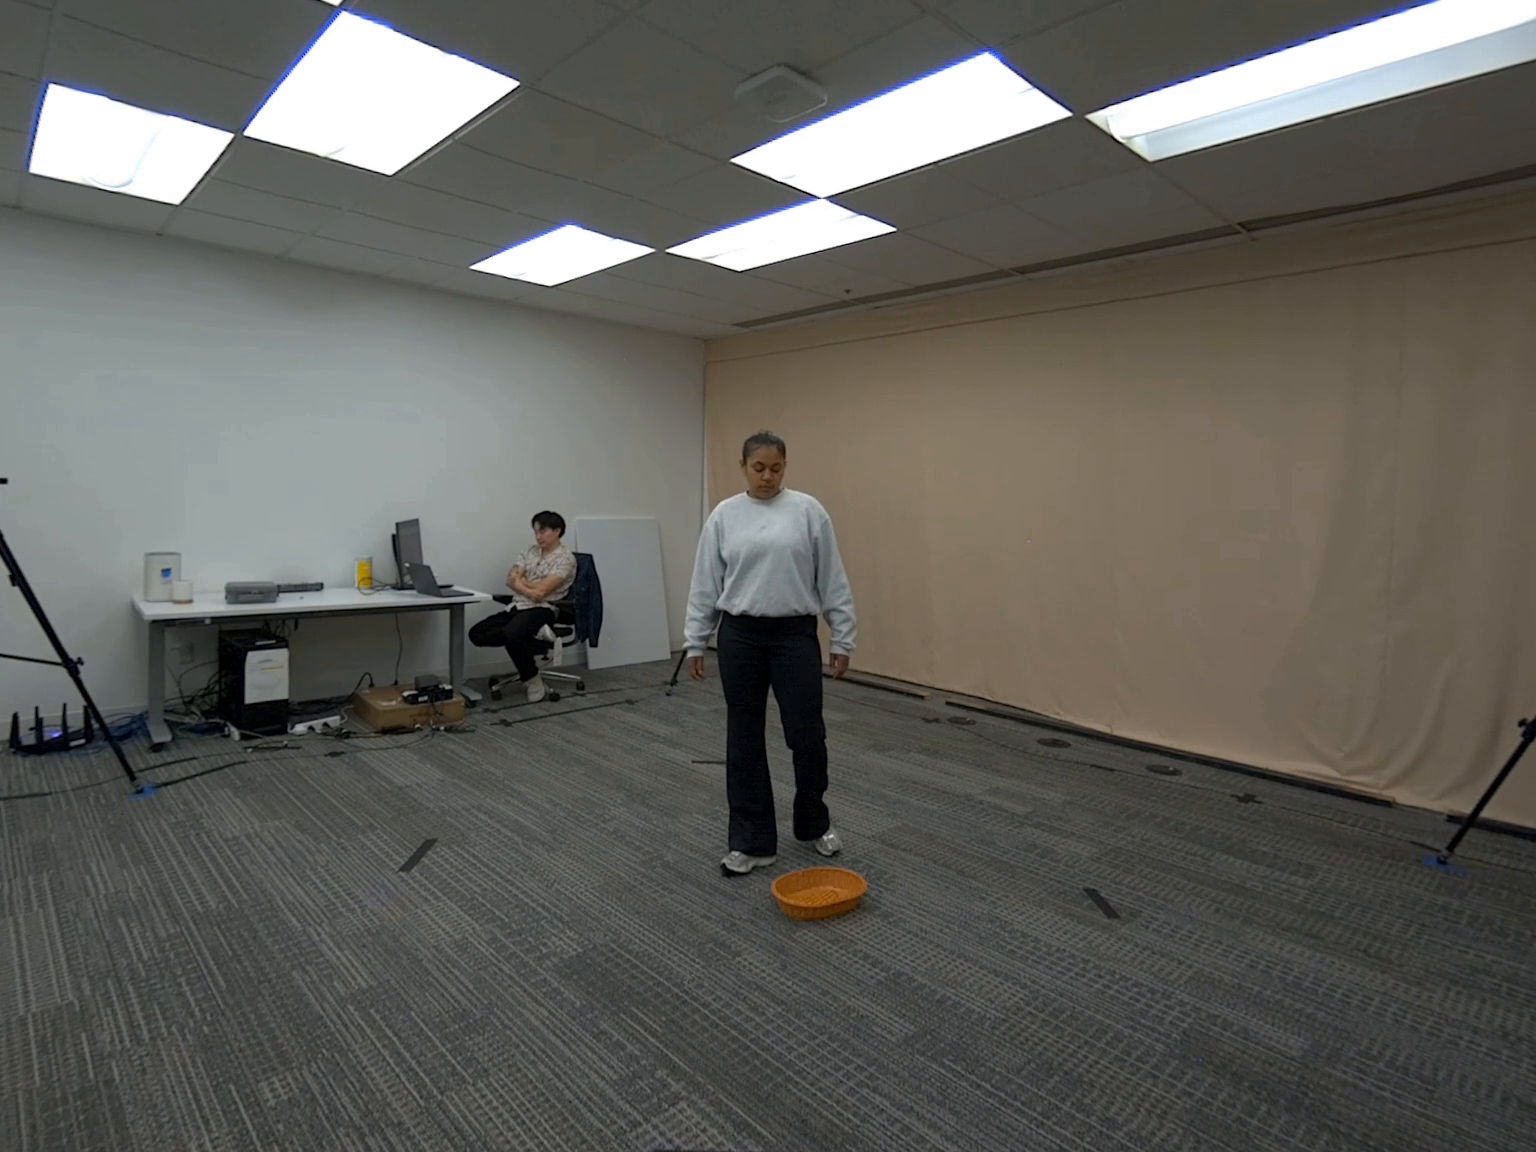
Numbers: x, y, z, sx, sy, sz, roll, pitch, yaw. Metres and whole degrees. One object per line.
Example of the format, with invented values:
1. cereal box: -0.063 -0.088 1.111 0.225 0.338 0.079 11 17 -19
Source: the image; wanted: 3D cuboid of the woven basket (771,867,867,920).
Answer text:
1. woven basket: 0.162 1.095 2.891 0.344 0.073 0.258 -2 6 -29
